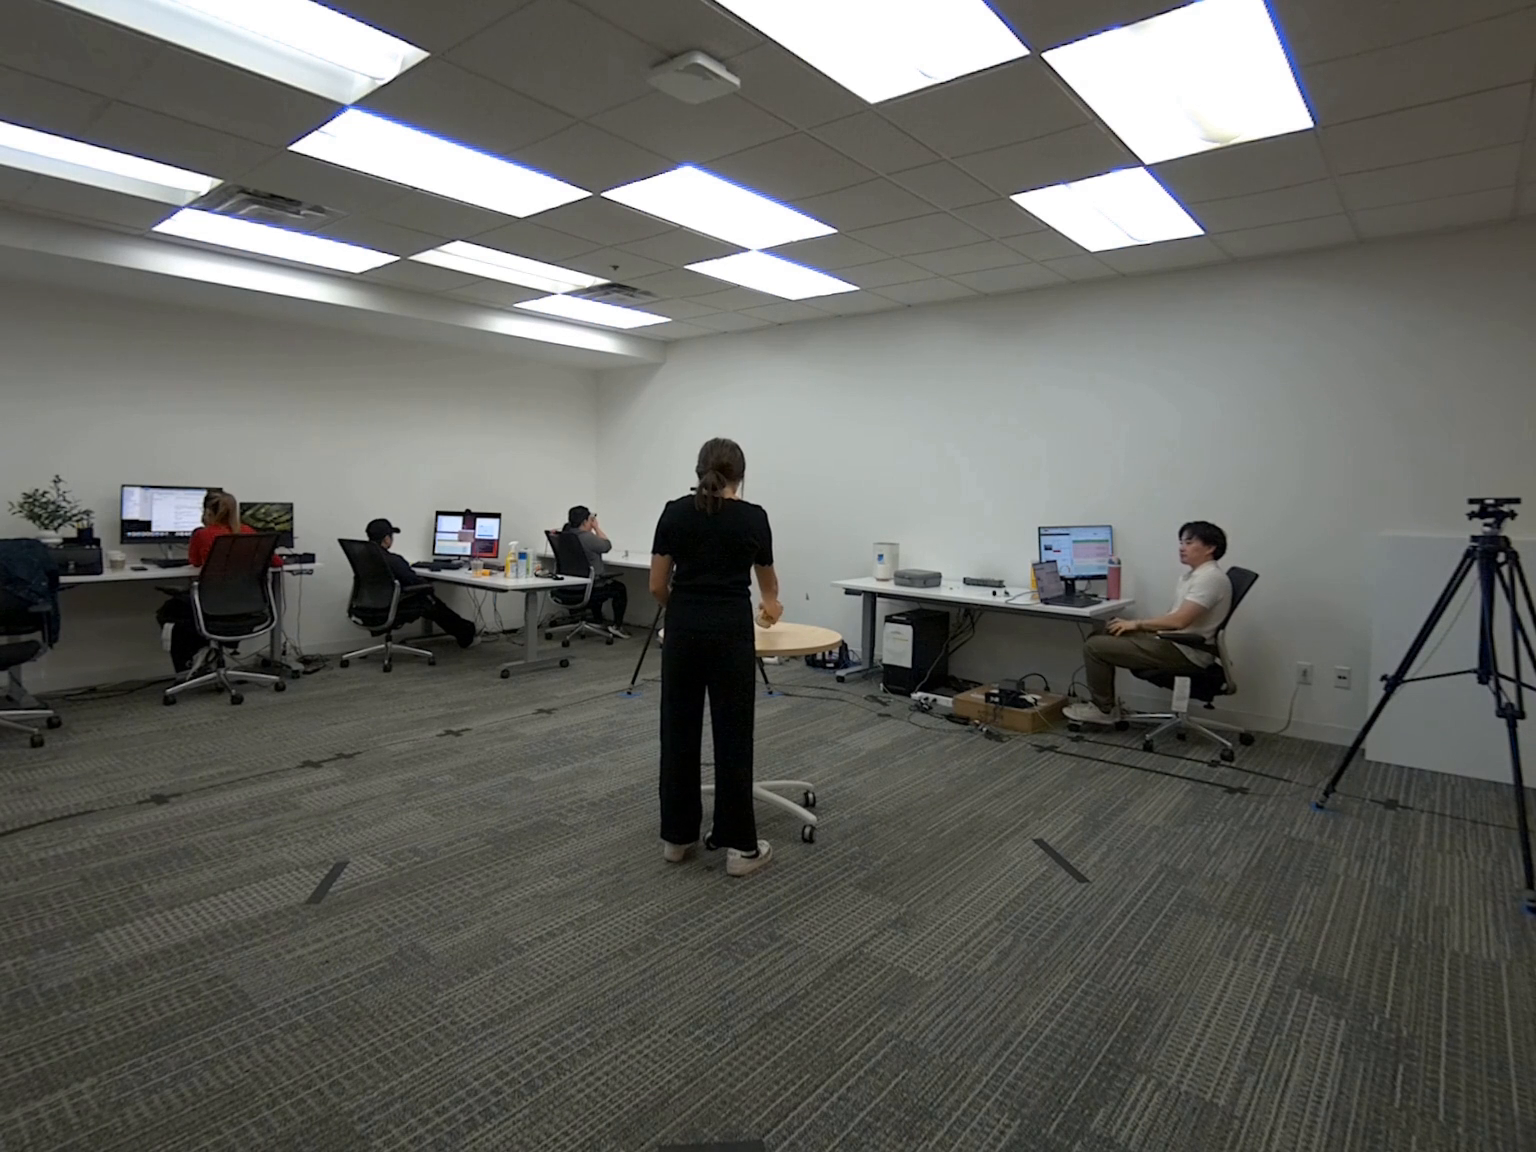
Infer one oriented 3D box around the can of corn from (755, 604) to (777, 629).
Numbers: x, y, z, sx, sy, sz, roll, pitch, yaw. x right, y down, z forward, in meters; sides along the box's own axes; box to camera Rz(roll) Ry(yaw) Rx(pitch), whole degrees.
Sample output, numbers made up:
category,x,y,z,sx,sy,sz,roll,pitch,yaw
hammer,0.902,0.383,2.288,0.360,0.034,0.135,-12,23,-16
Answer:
category,x,y,z,sx,sy,sz,roll,pitch,yaw
can of corn,-0.009,0.157,3.624,0.076,0.071,0.112,3,47,26
